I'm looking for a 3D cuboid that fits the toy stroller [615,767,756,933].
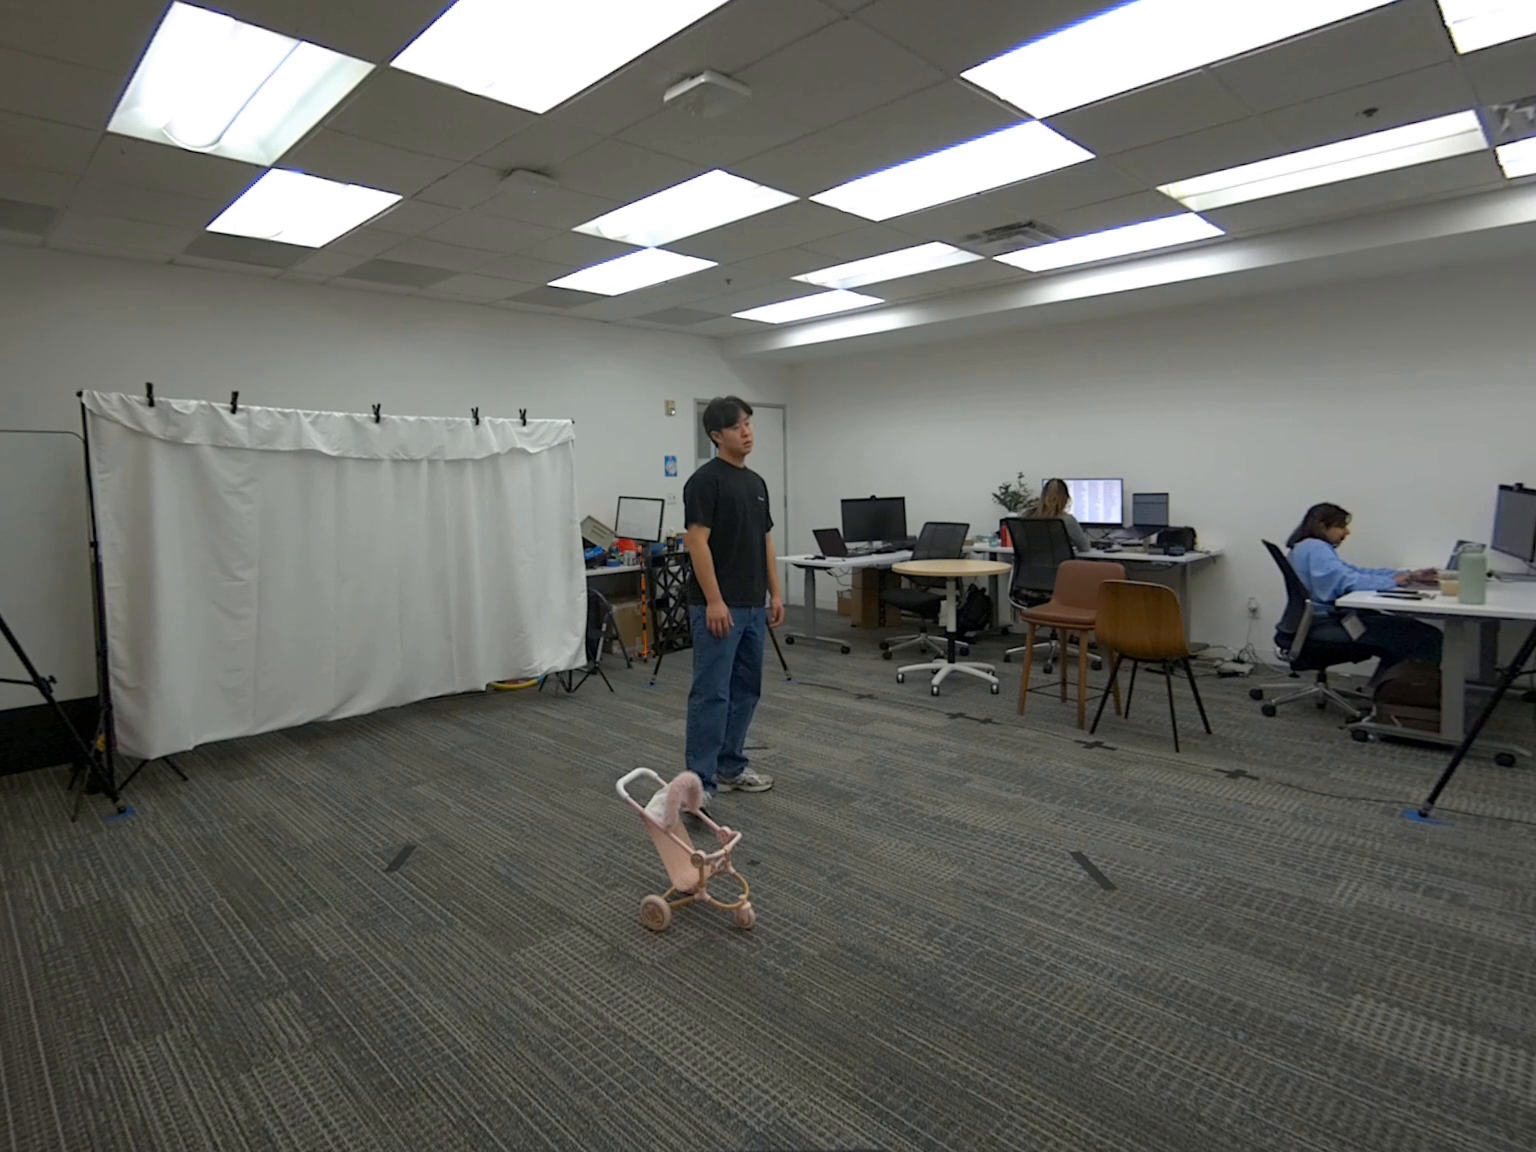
[{"bbox_3d":[-0.249,0.870,2.725,0.347,0.537,0.276,-18,-4,29],"label":"toy stroller"}]
